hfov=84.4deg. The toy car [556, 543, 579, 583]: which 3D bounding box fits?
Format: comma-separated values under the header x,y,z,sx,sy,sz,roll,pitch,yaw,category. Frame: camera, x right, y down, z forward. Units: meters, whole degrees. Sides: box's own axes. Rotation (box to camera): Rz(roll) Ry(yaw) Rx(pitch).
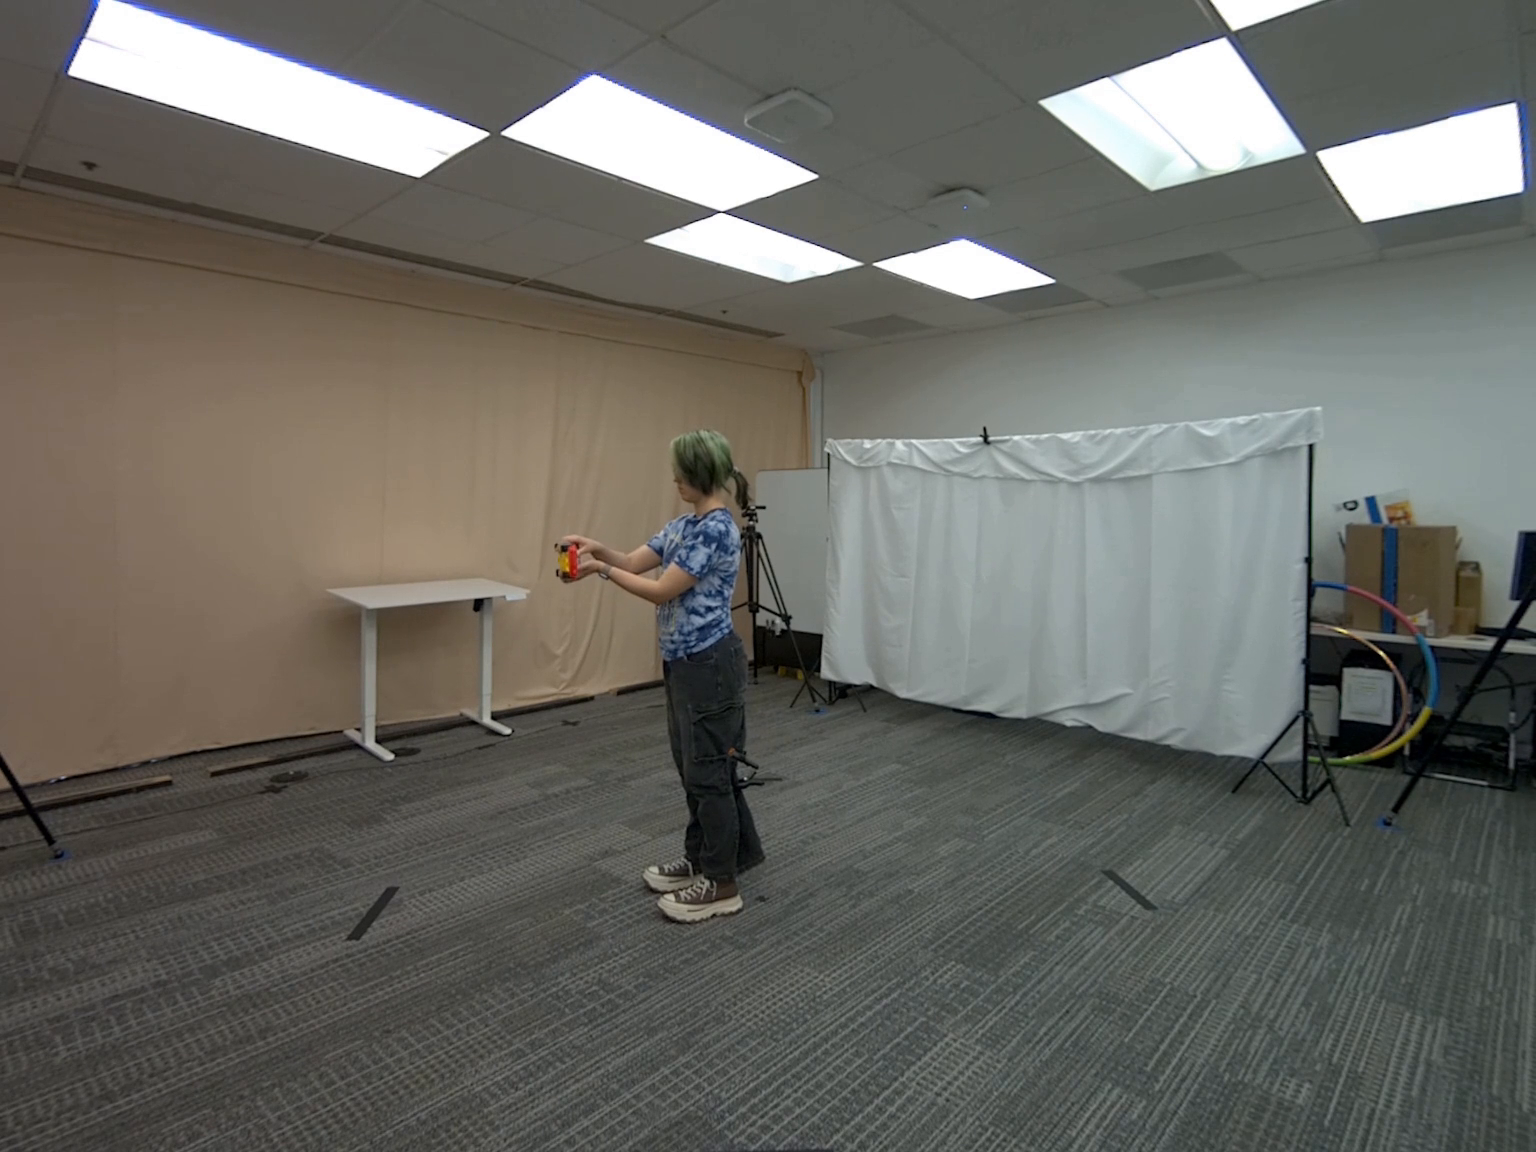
x,y,z,sx,sy,sz,roll,pitch,yaw,category
-0.671,-0.049,2.812,0.082,0.130,0.257,0,1,-11,toy car
